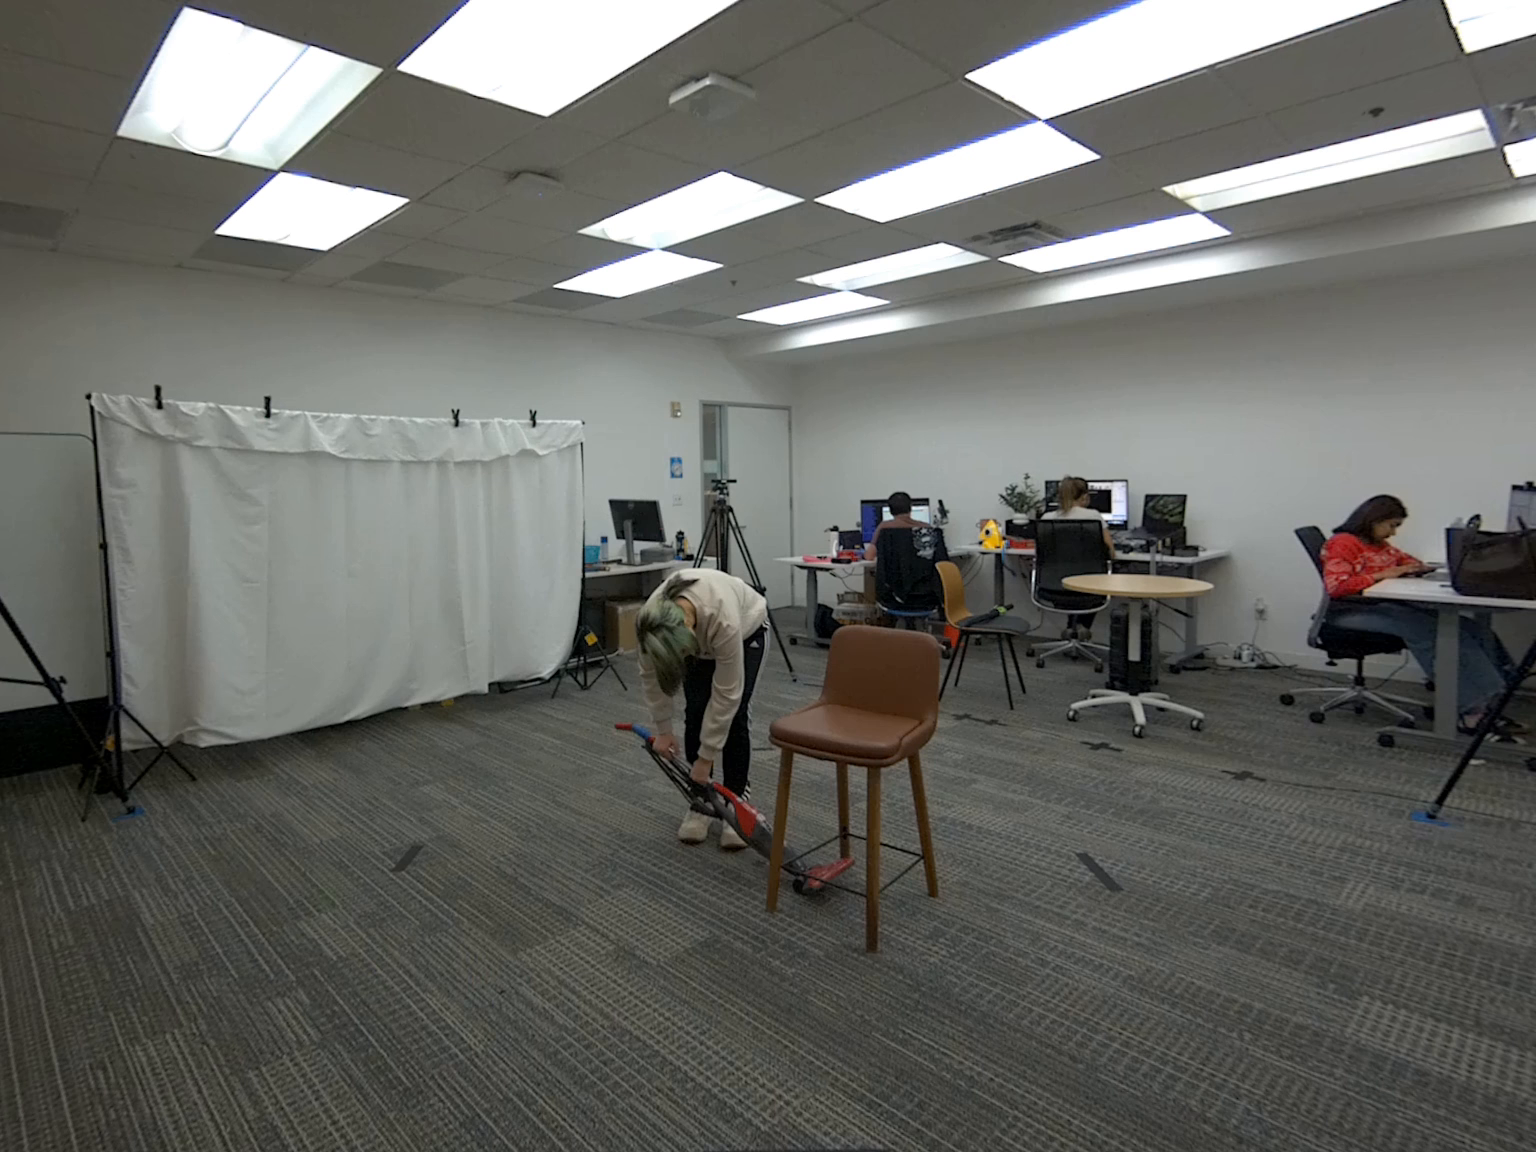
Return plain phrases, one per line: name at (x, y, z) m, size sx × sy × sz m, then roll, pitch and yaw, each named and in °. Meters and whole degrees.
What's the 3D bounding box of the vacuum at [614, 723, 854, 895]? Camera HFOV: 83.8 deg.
vacuum at (-0.215, 0.823, 3.193) m, size 1.088 × 0.142 × 0.246 m, roll 26°, pitch 19°, yaw 36°
